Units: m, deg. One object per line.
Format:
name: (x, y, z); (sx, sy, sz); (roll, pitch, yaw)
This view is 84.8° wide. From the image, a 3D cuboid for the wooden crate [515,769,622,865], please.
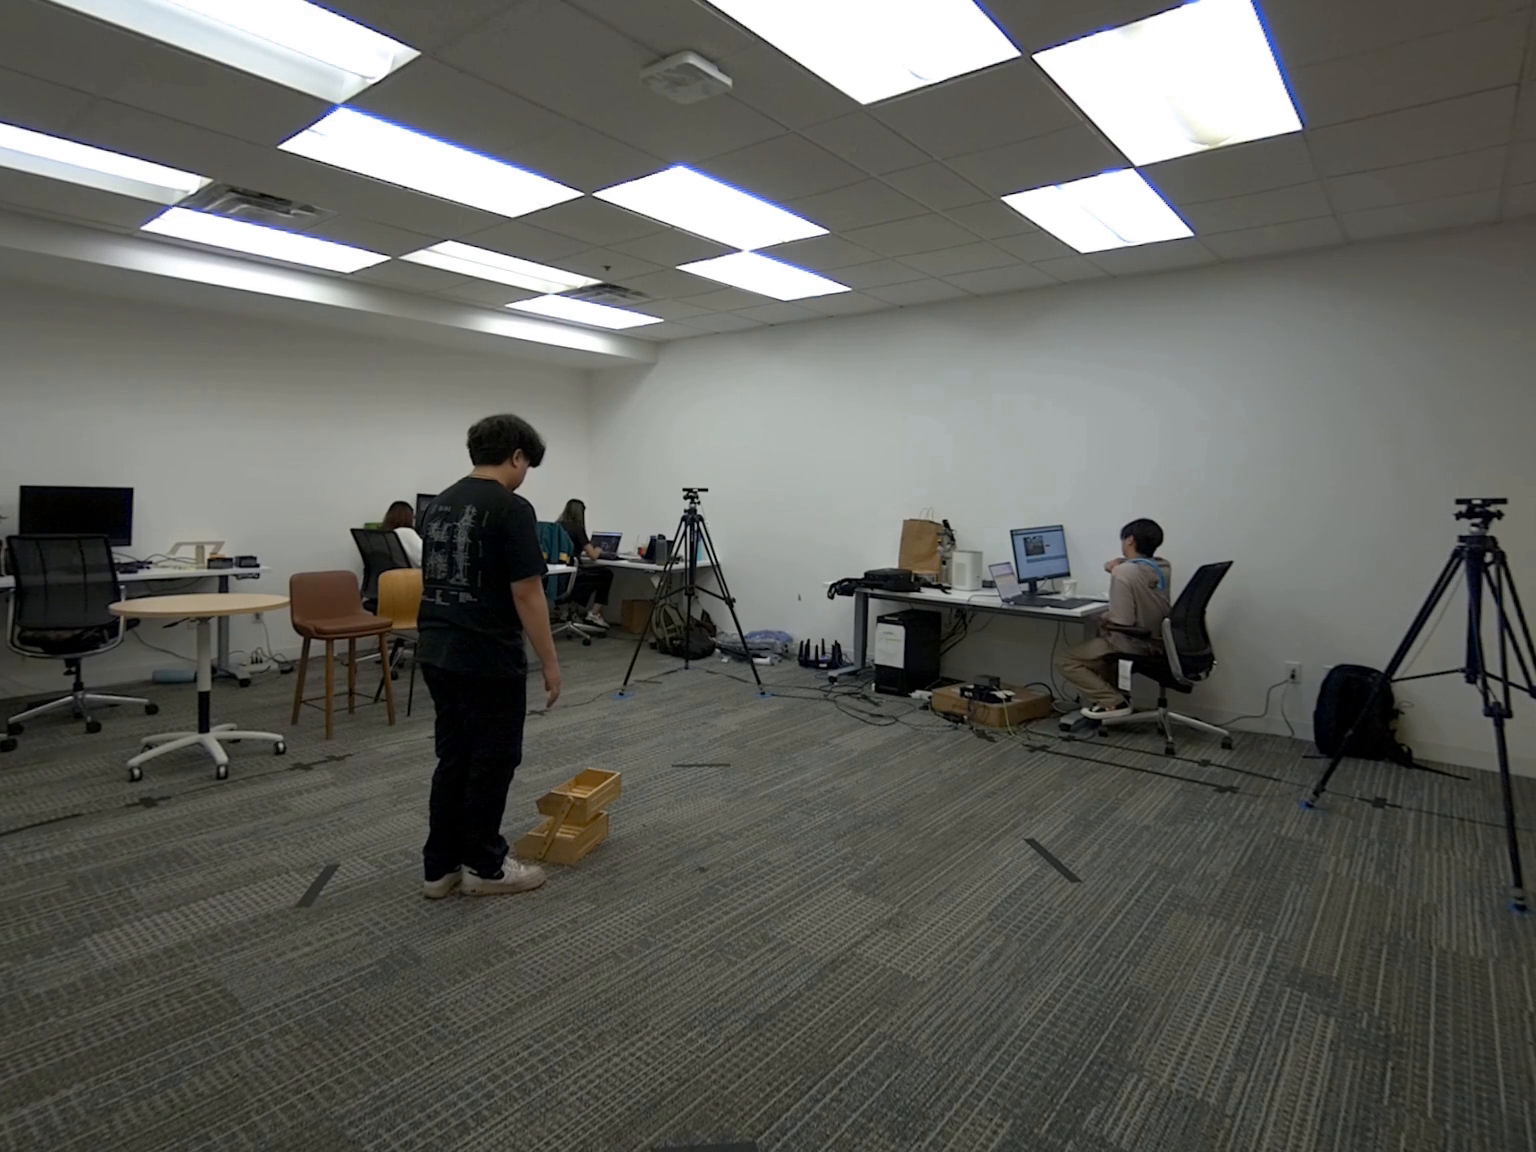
wooden crate: (-0.790, 0.912, 3.289); (0.308, 0.272, 0.319); (3, 5, 17)
